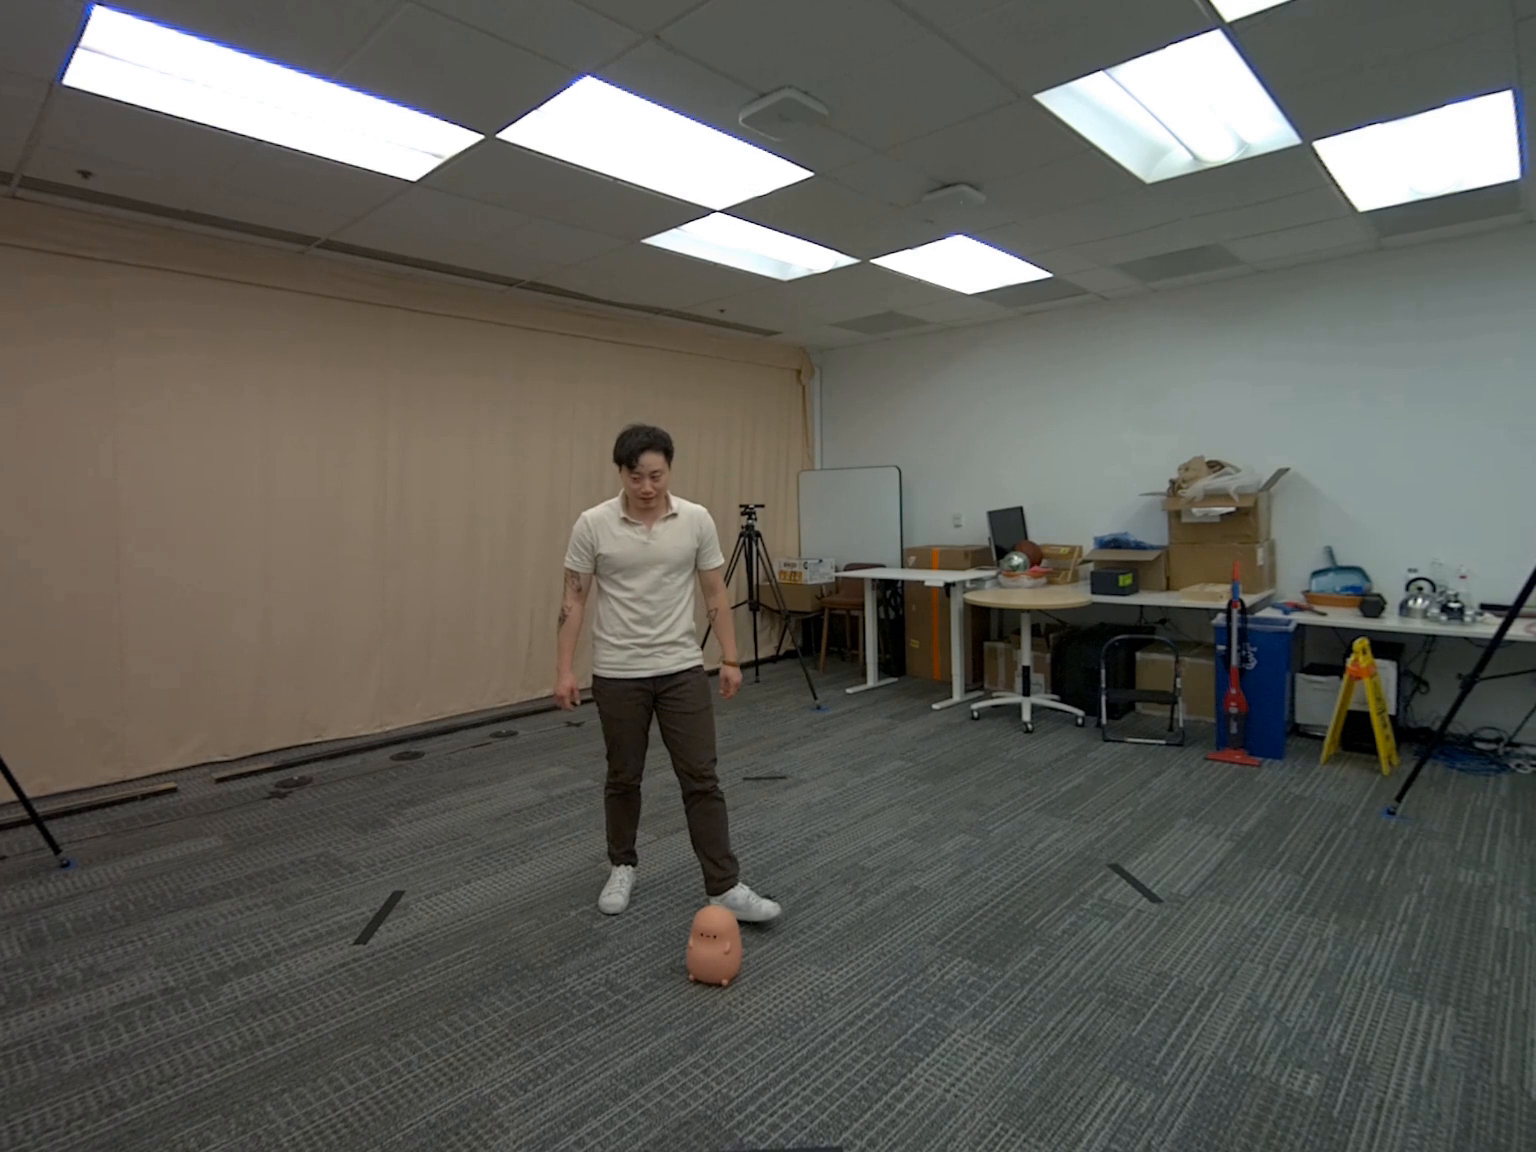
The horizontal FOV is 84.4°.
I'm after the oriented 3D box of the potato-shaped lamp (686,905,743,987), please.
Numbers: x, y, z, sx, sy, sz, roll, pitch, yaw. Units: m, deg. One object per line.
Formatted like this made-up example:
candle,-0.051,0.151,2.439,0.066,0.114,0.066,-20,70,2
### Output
potato-shaped lamp,-0.157,1.083,2.500,0.168,0.198,0.168,0,0,19
